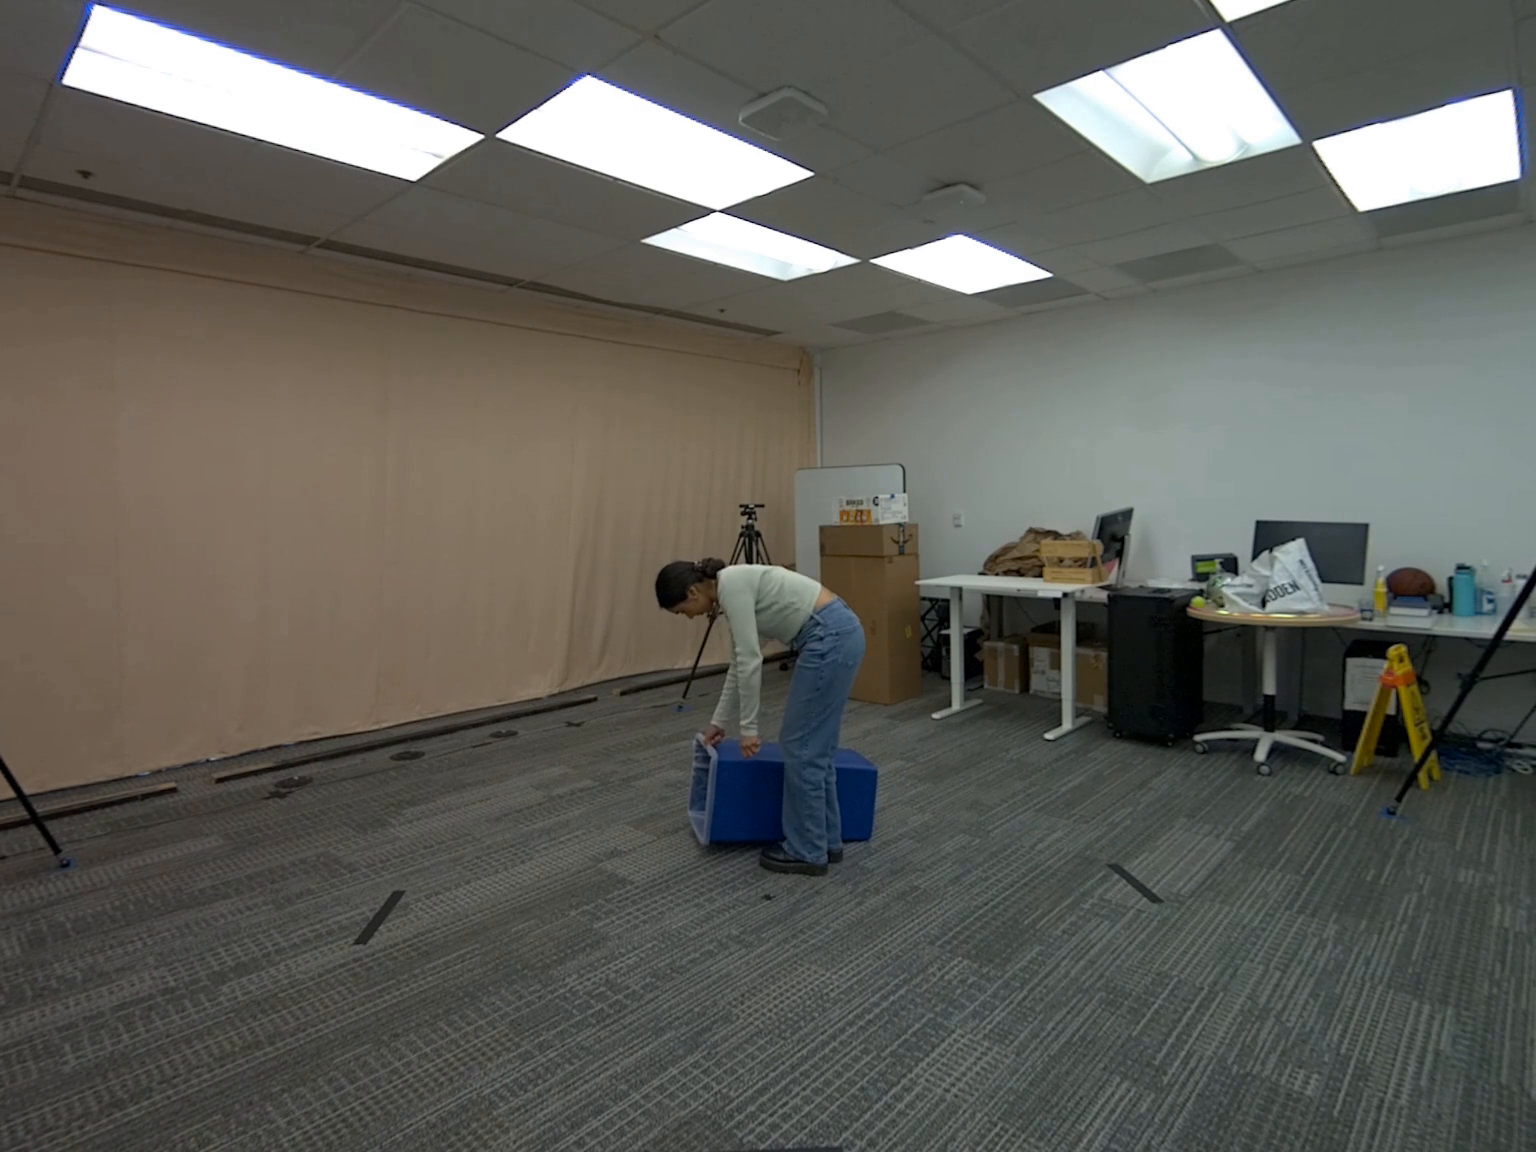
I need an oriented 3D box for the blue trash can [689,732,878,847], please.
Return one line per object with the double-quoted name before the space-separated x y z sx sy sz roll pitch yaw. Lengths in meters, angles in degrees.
"blue trash can" 0.061 0.884 3.521 0.704 0.378 0.379 4 2 -12
